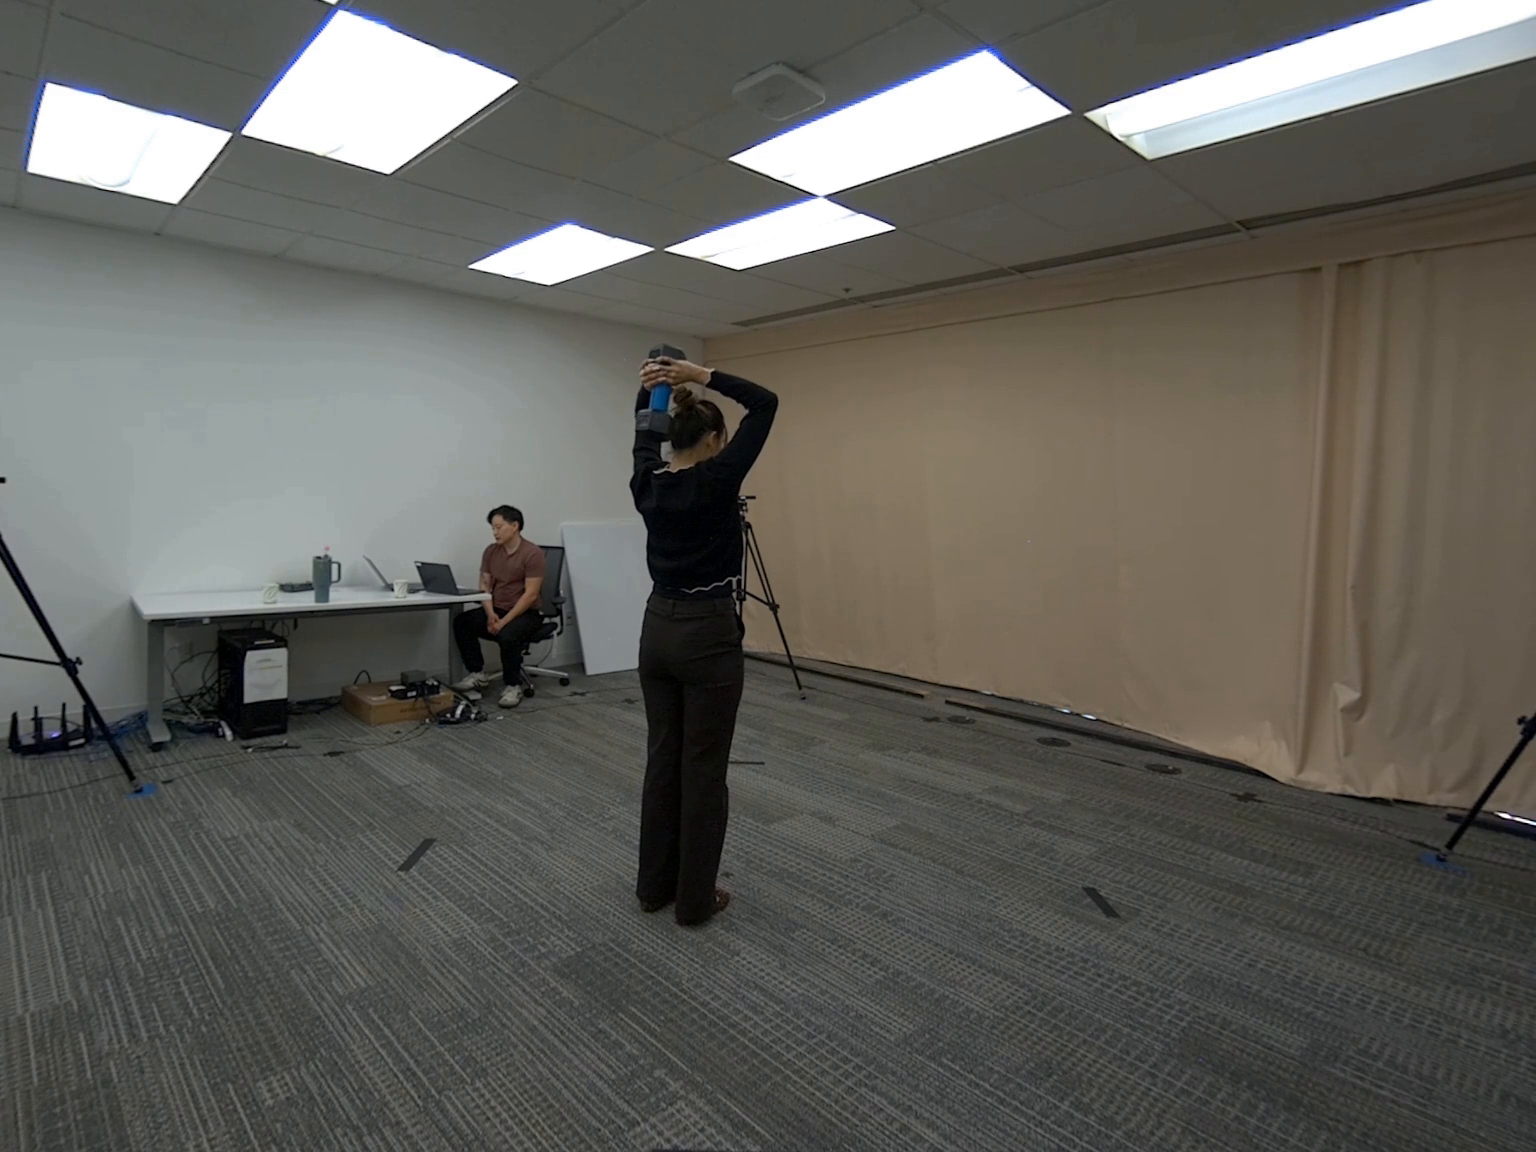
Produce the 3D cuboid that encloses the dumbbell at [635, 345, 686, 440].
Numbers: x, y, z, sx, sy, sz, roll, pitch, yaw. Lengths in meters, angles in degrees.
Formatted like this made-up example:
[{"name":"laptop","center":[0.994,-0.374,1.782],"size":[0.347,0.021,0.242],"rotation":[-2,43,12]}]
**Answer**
[{"name":"dumbbell","center":[-0.341,-0.569,2.628],"size":[0.109,0.295,0.121],"rotation":[9,-8,5]}]
